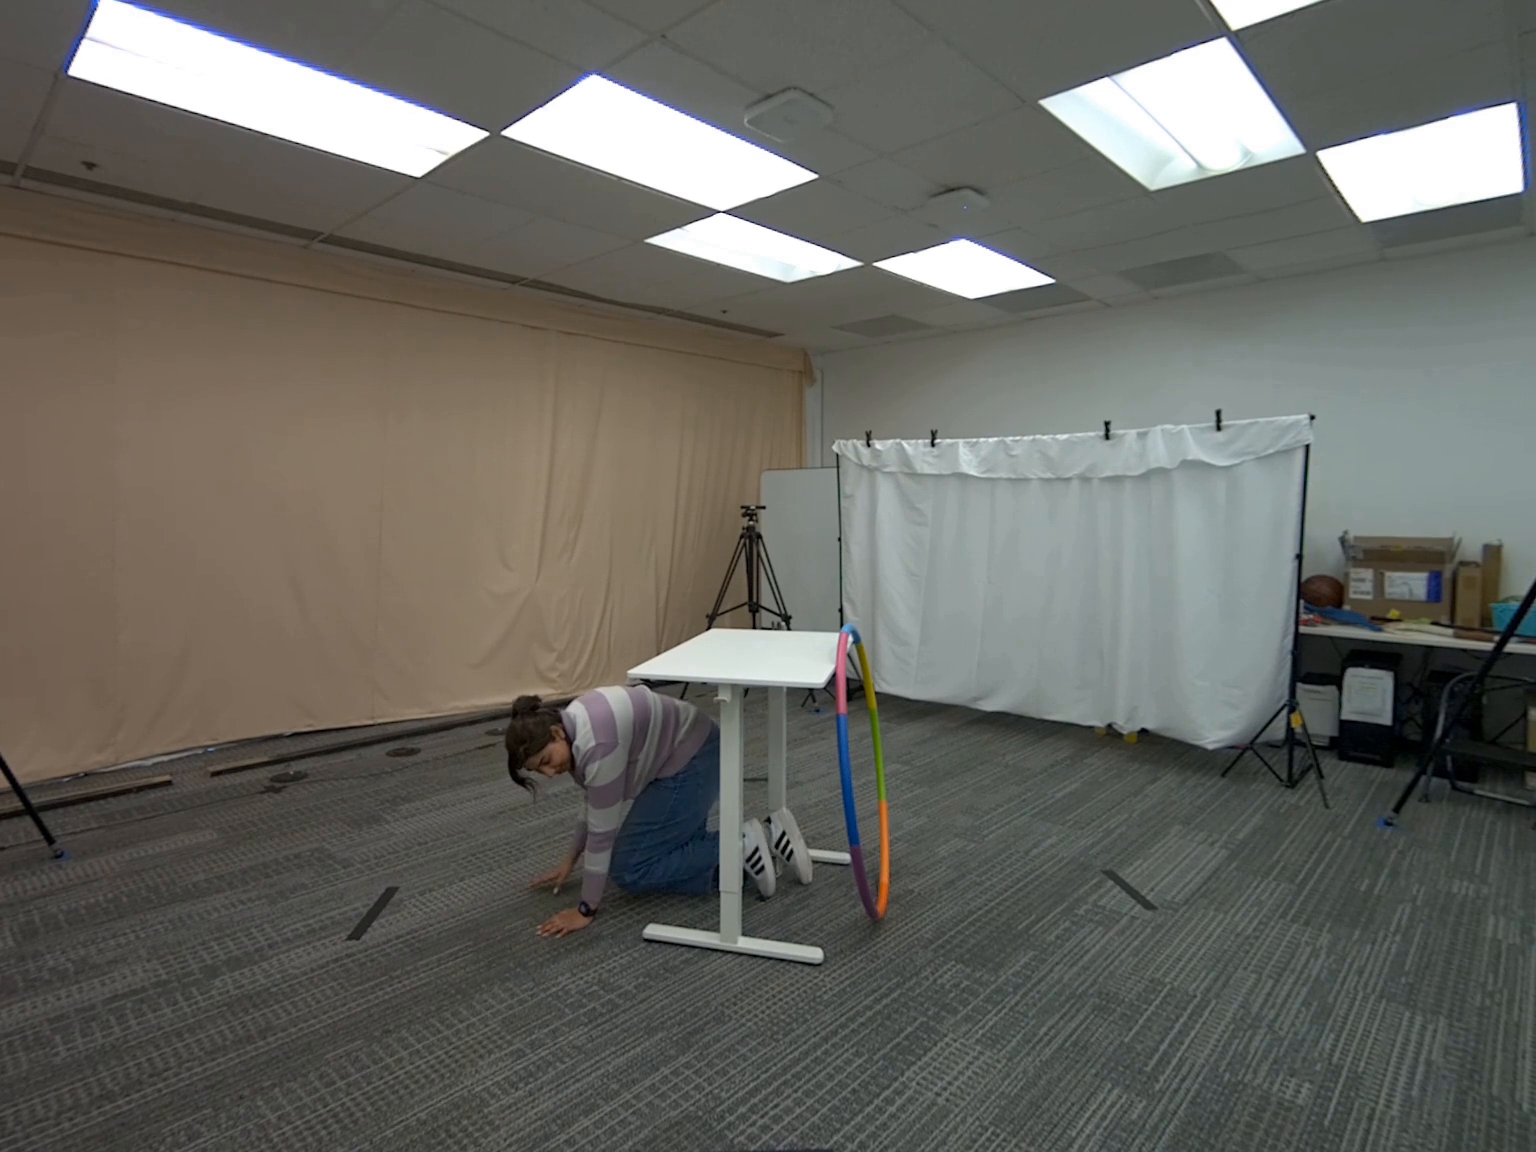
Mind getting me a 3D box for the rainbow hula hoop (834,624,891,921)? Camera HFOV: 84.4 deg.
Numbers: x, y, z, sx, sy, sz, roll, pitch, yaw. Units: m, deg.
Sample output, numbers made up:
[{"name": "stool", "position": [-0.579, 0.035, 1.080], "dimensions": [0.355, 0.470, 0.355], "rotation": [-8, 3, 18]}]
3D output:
[{"name": "rainbow hula hoop", "position": [0.345, 0.667, 2.923], "dimensions": [0.036, 0.978, 0.966], "rotation": [-7, 2, 13]}]
